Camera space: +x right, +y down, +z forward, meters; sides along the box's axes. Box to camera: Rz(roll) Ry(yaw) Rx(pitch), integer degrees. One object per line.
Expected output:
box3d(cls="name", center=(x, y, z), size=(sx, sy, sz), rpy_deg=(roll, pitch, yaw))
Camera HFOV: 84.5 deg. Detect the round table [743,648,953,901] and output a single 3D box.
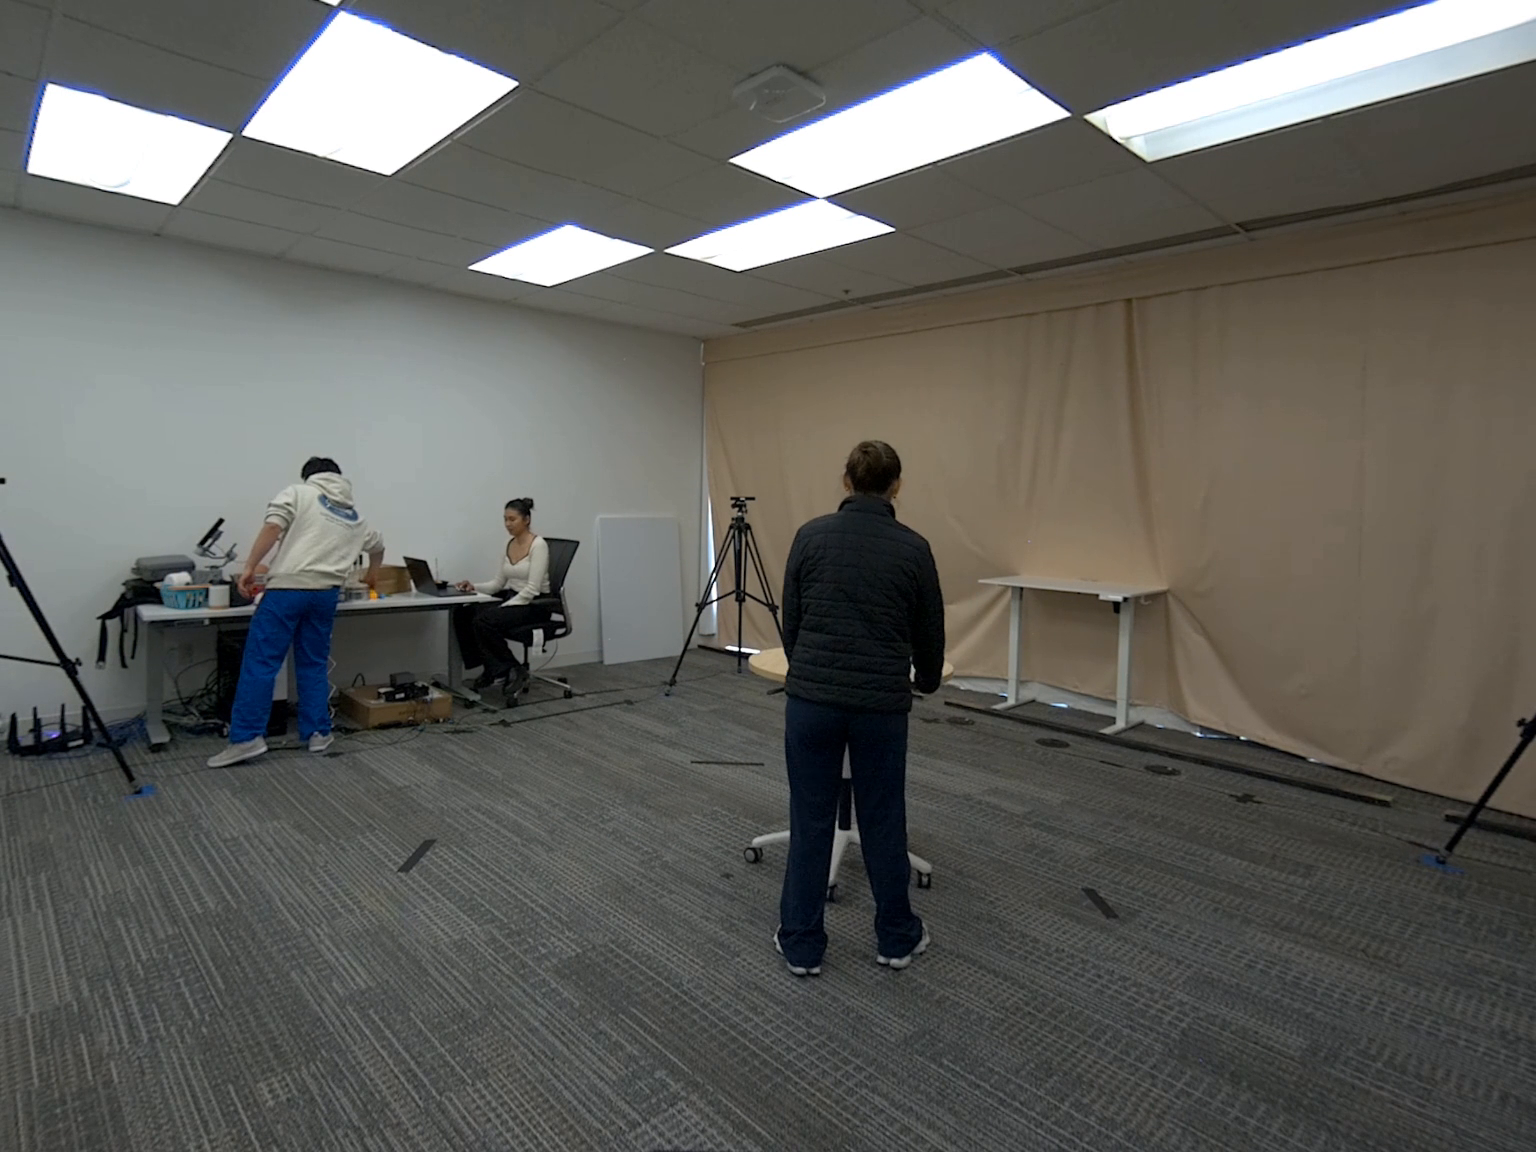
box3d(cls="round table", center=(0.287, 0.719, 3.194), size=(0.784, 0.785, 0.787), rpy_deg=(1, 4, -1))
